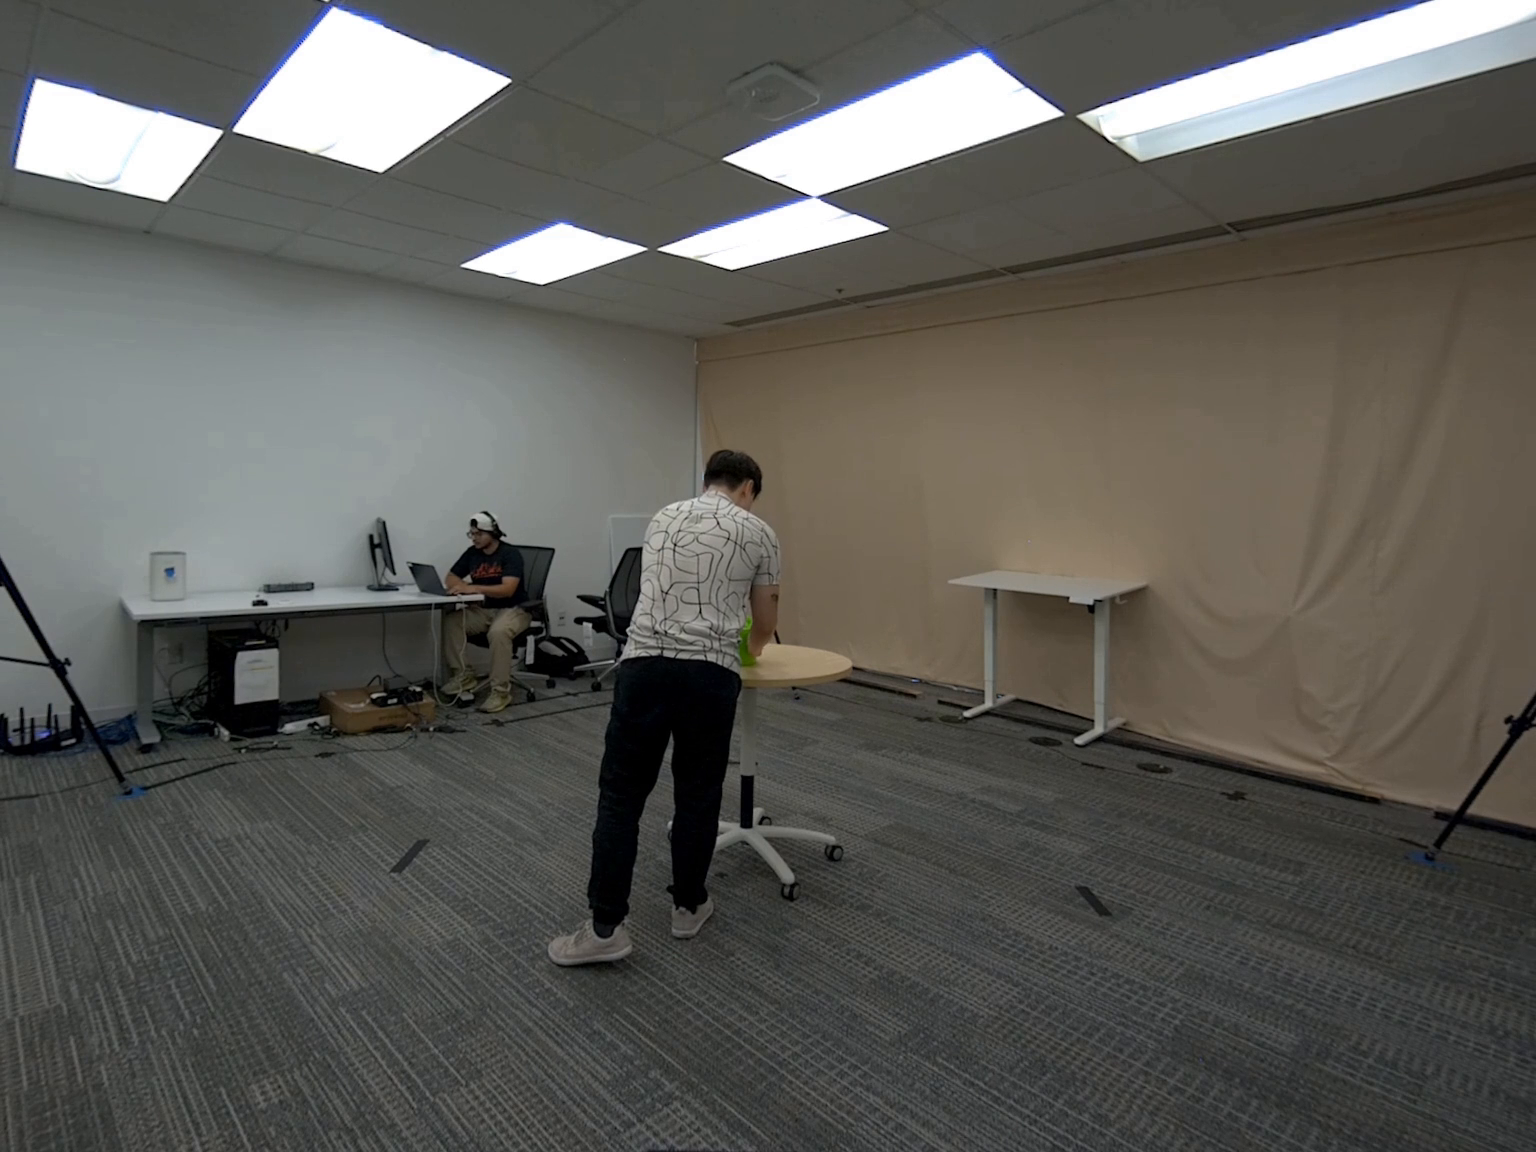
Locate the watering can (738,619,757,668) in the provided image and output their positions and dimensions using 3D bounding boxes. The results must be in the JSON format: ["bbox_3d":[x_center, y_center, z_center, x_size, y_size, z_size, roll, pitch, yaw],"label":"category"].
[{"bbox_3d":[-0.073,0.235,3.132,0.100,0.176,0.273,1,6,28],"label":"watering can"}]
